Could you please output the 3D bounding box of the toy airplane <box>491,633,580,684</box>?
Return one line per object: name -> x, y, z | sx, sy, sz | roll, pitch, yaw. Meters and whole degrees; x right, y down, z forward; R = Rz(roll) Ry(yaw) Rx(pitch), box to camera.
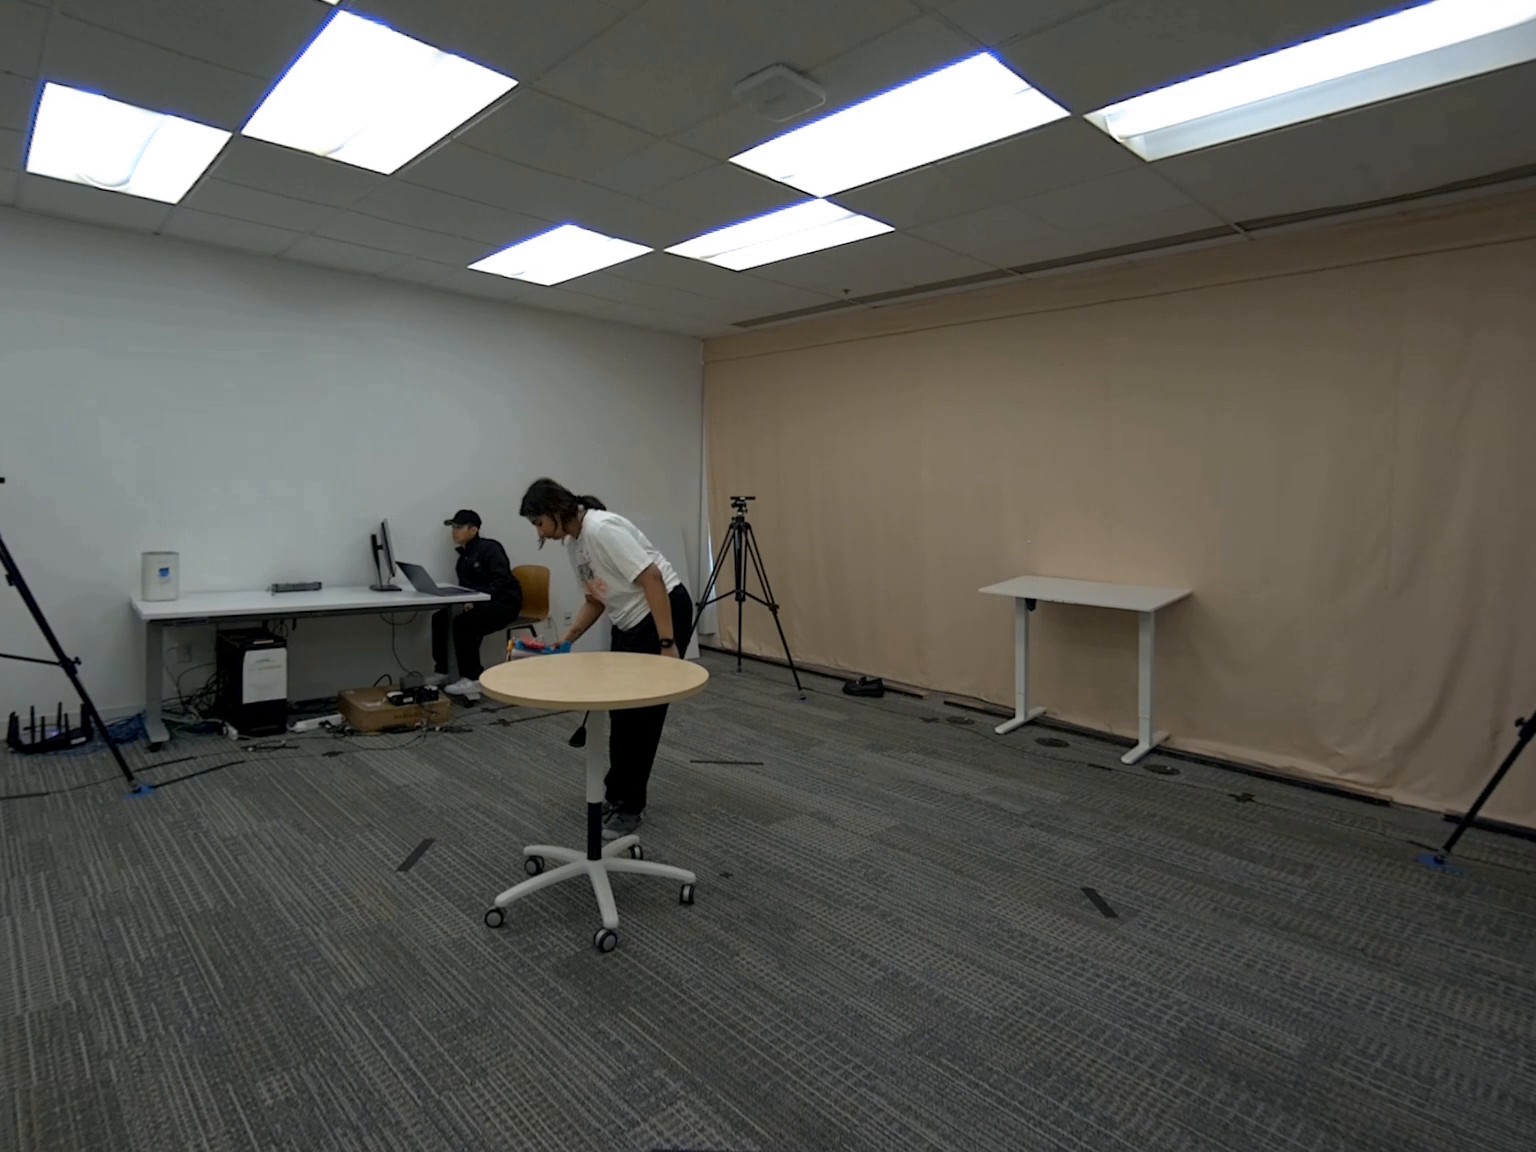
toy airplane -> -0.968, 0.337, 3.521 | 0.257, 0.156, 0.253 | 1, 3, 43
